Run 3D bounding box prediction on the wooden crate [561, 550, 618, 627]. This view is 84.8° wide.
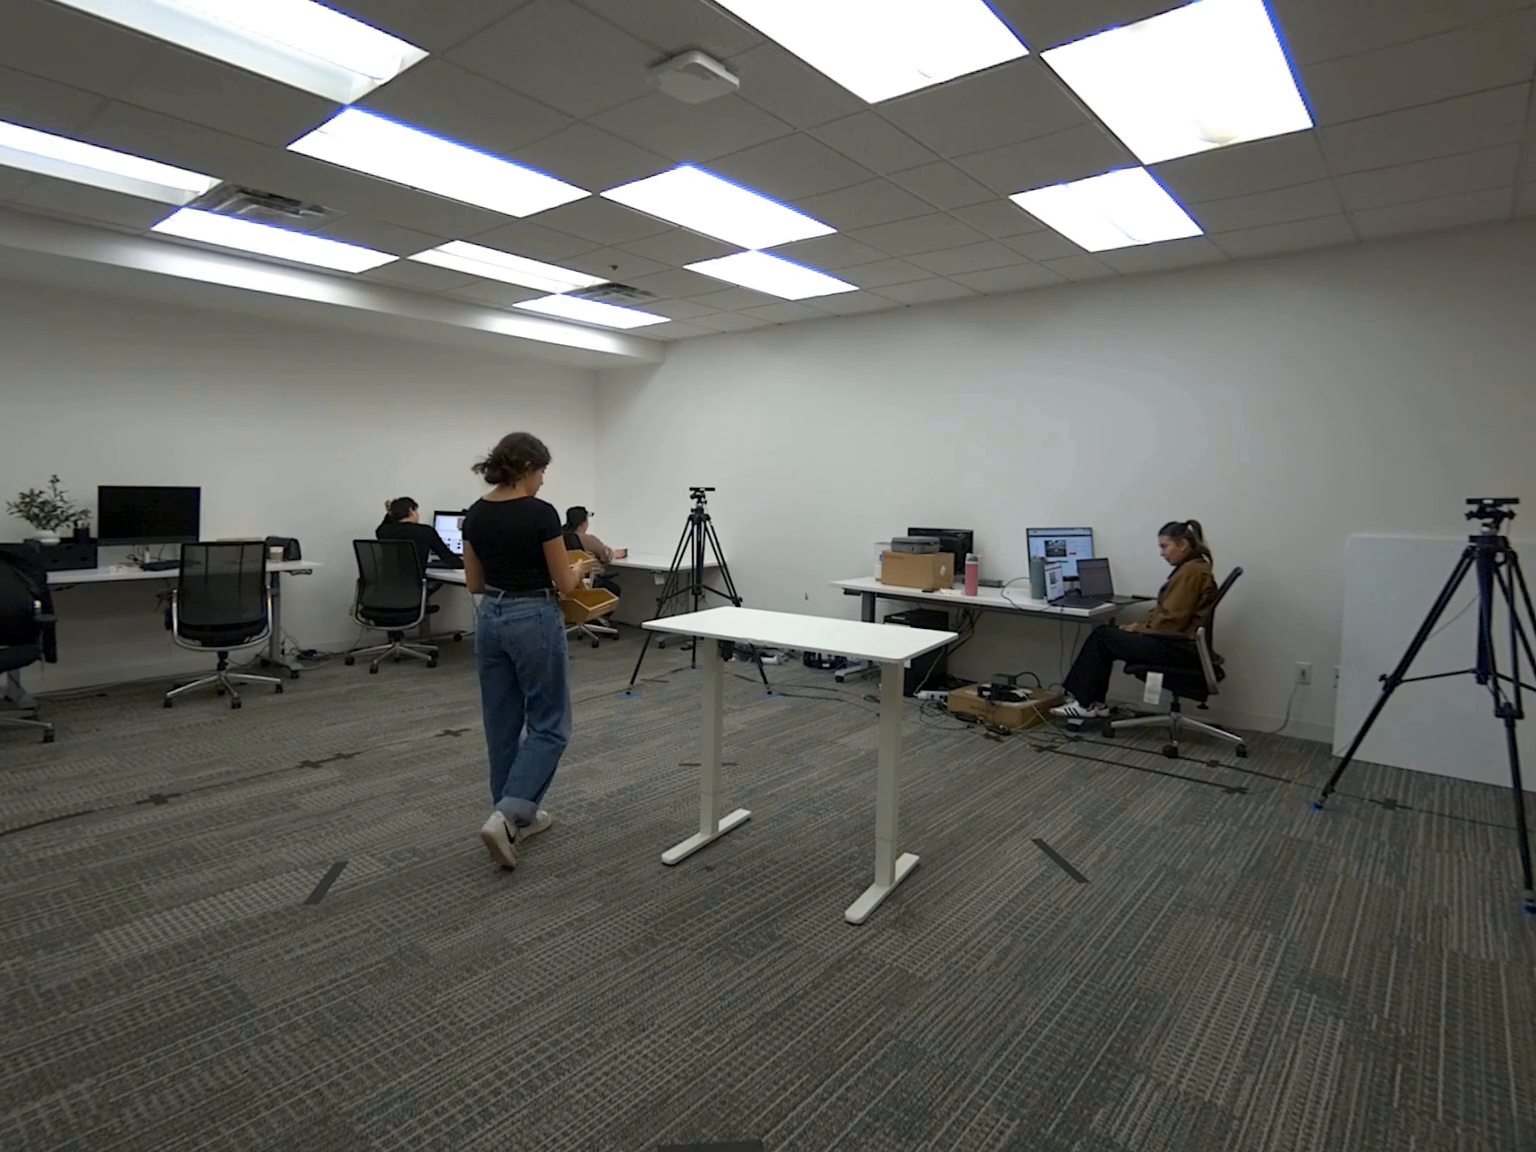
[{"bbox_3d":[-0.822,0.031,3.502,0.306,0.272,0.322,-4,6,13],"label":"wooden crate"}]
